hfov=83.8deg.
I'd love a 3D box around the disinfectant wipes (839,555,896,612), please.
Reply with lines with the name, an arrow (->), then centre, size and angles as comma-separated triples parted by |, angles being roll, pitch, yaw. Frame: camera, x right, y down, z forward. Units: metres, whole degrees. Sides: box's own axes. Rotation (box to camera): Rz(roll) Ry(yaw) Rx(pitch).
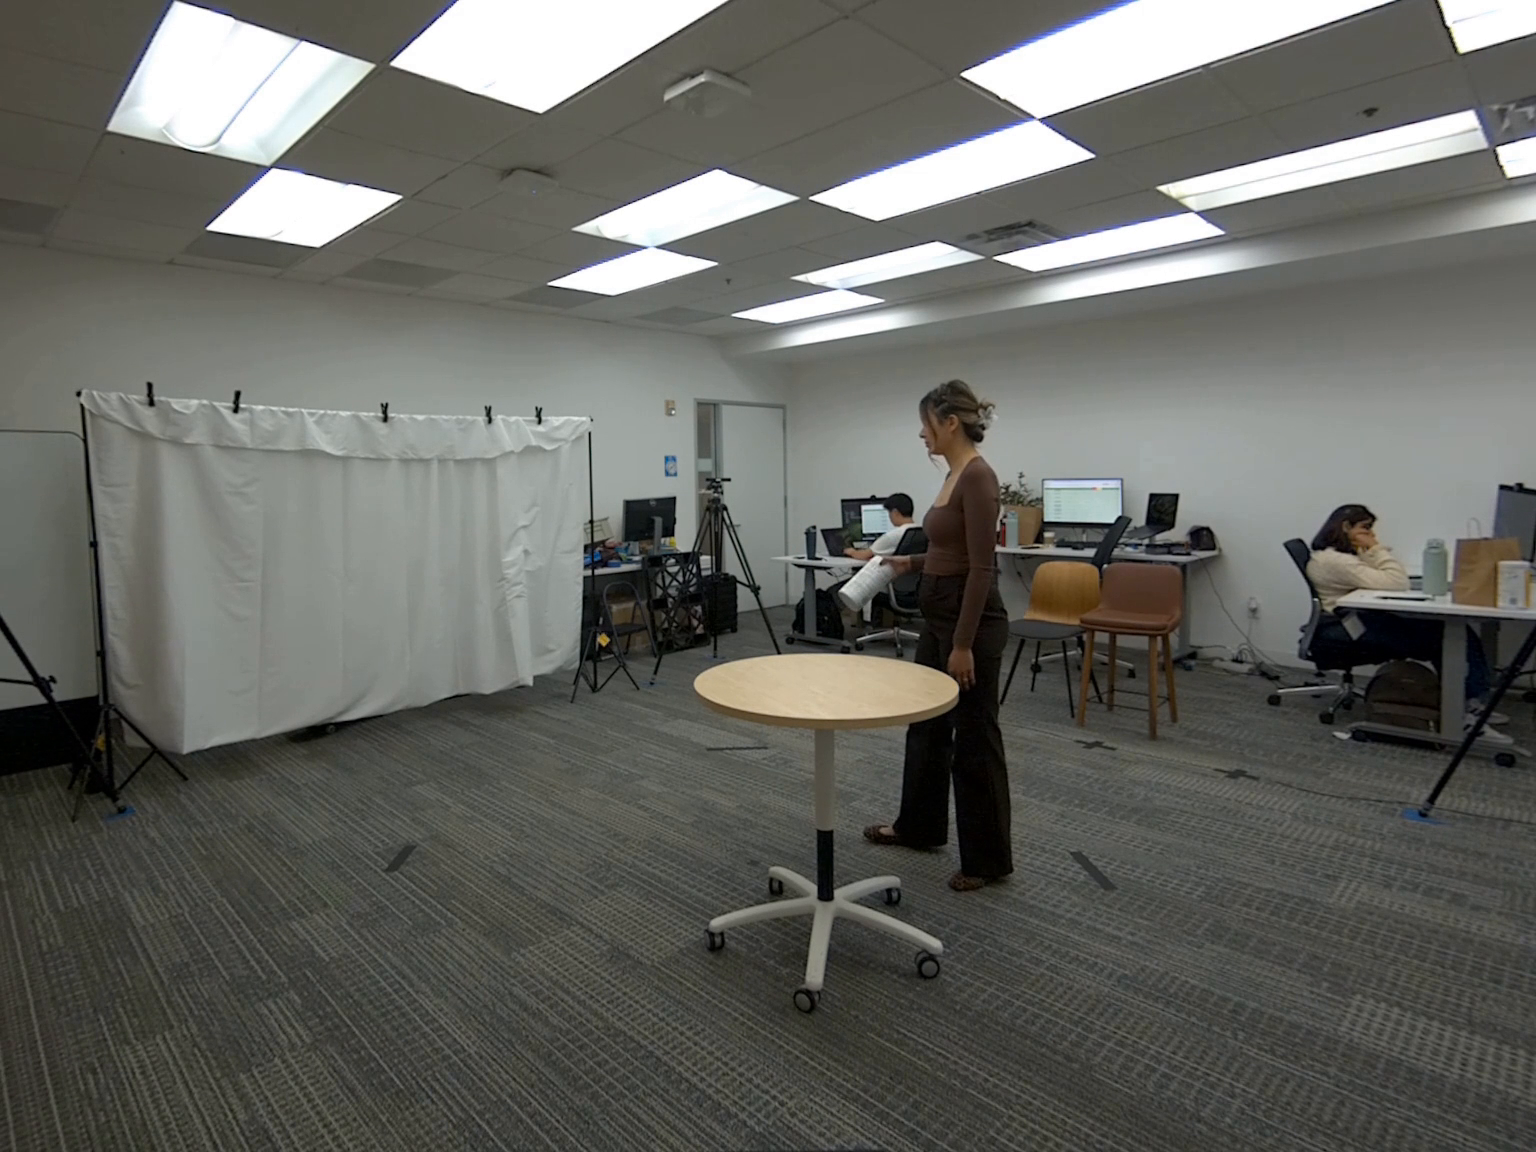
disinfectant wipes -> 0.380, 0.025, 3.330 | 0.217, 0.115, 0.120 | -44, 17, -11
